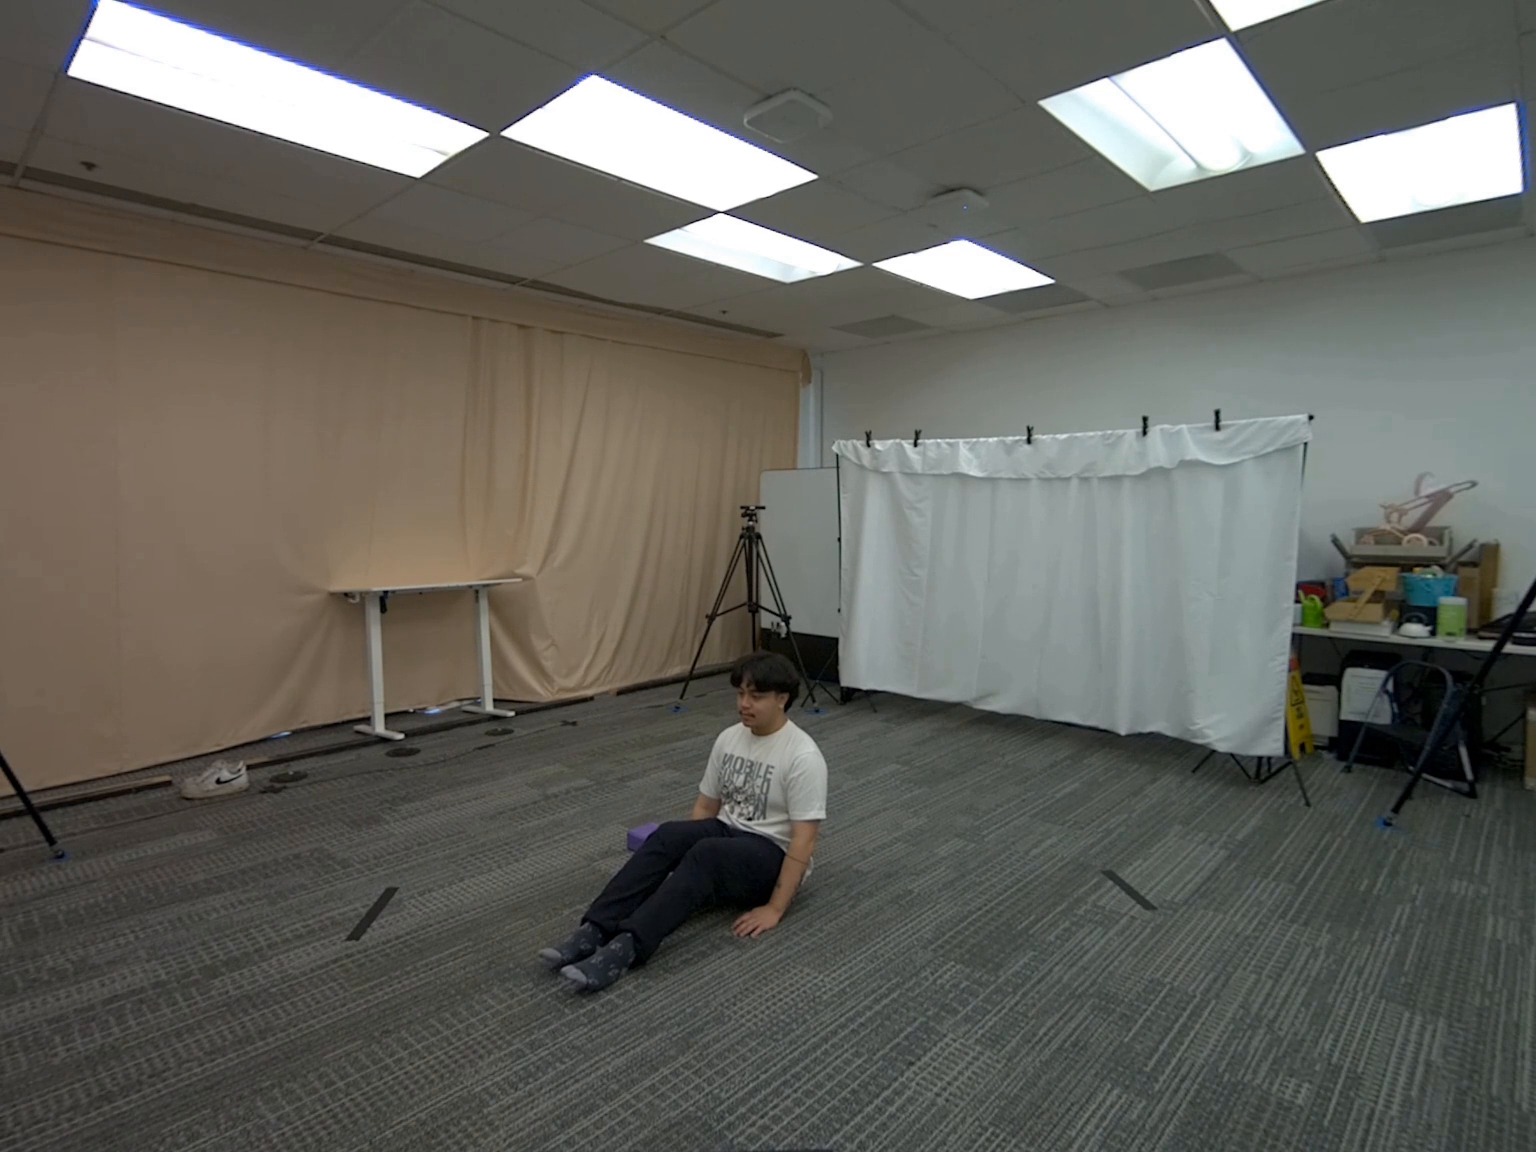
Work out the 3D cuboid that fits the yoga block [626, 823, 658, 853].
[{"bbox_3d":[-0.444,1.072,3.397,0.237,0.076,0.144,3,6,42],"label":"yoga block"}]
